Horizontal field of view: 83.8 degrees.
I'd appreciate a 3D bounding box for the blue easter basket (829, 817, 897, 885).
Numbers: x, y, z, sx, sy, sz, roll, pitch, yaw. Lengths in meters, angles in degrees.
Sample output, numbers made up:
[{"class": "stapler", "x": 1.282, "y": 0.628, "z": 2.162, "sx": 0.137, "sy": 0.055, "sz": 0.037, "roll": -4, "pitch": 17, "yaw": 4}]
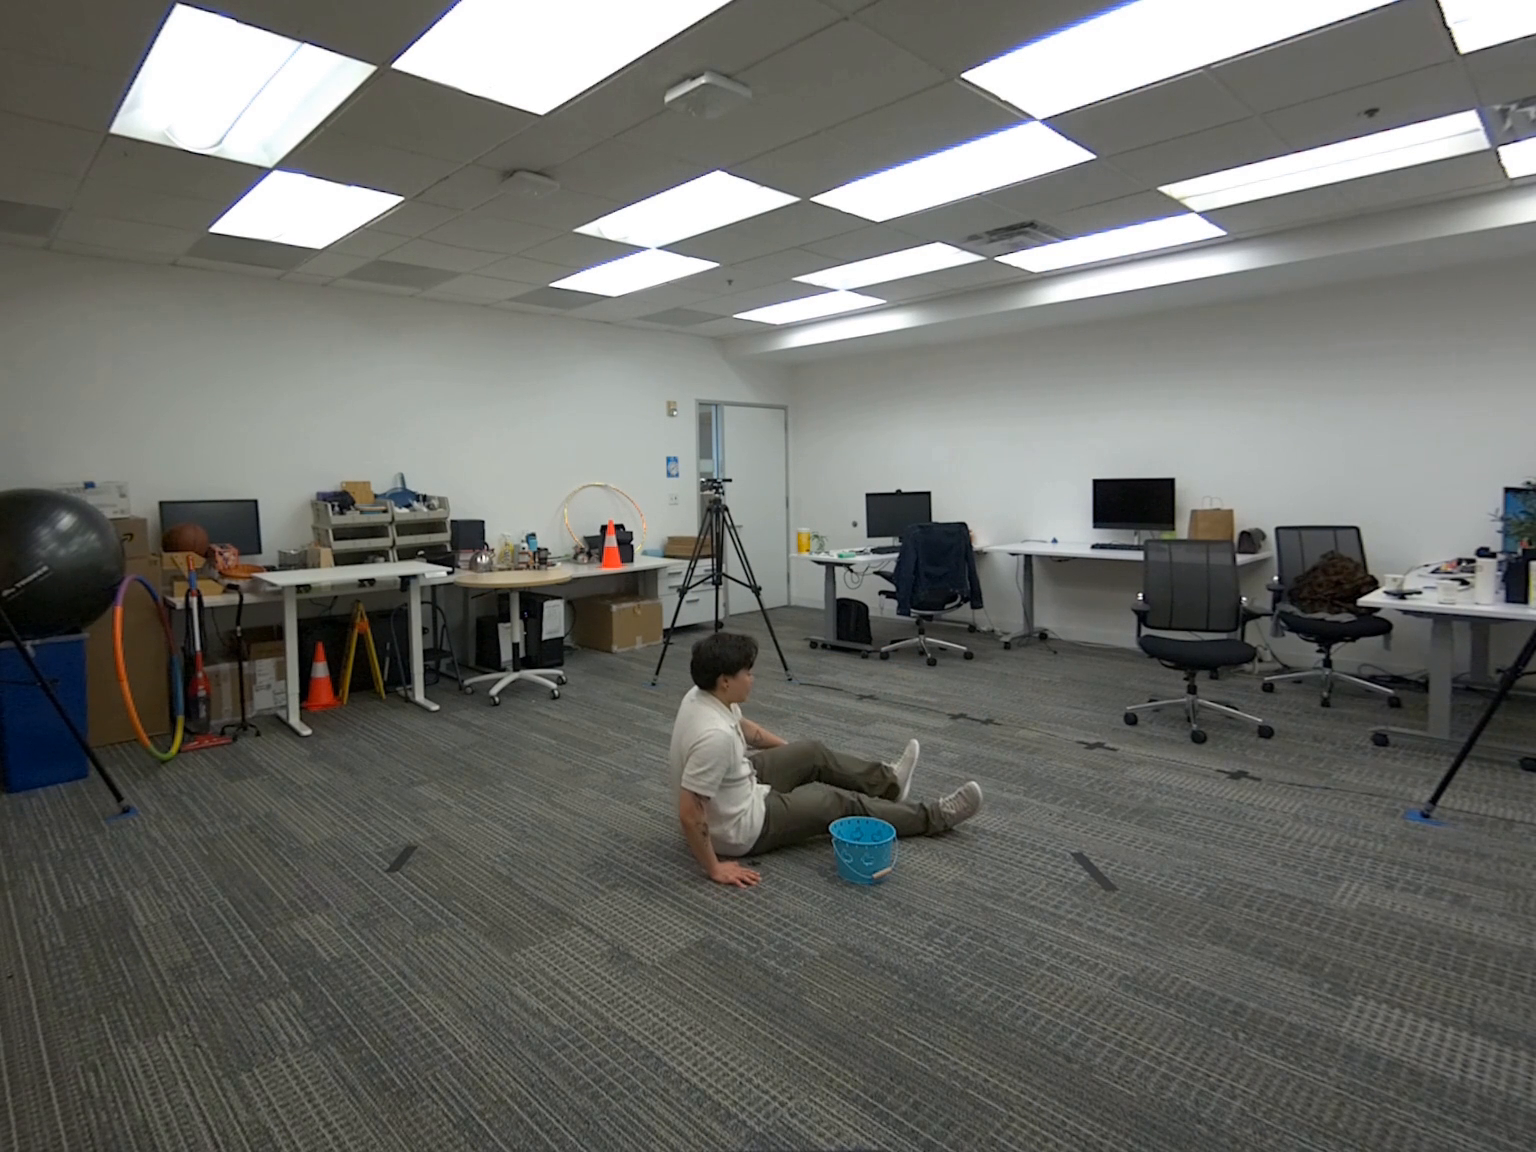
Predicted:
[{"class": "blue easter basket", "x": 0.330, "y": 0.963, "z": 3.021, "sx": 0.243, "sy": 0.155, "sz": 0.245, "roll": -2, "pitch": 5, "yaw": -2}]
